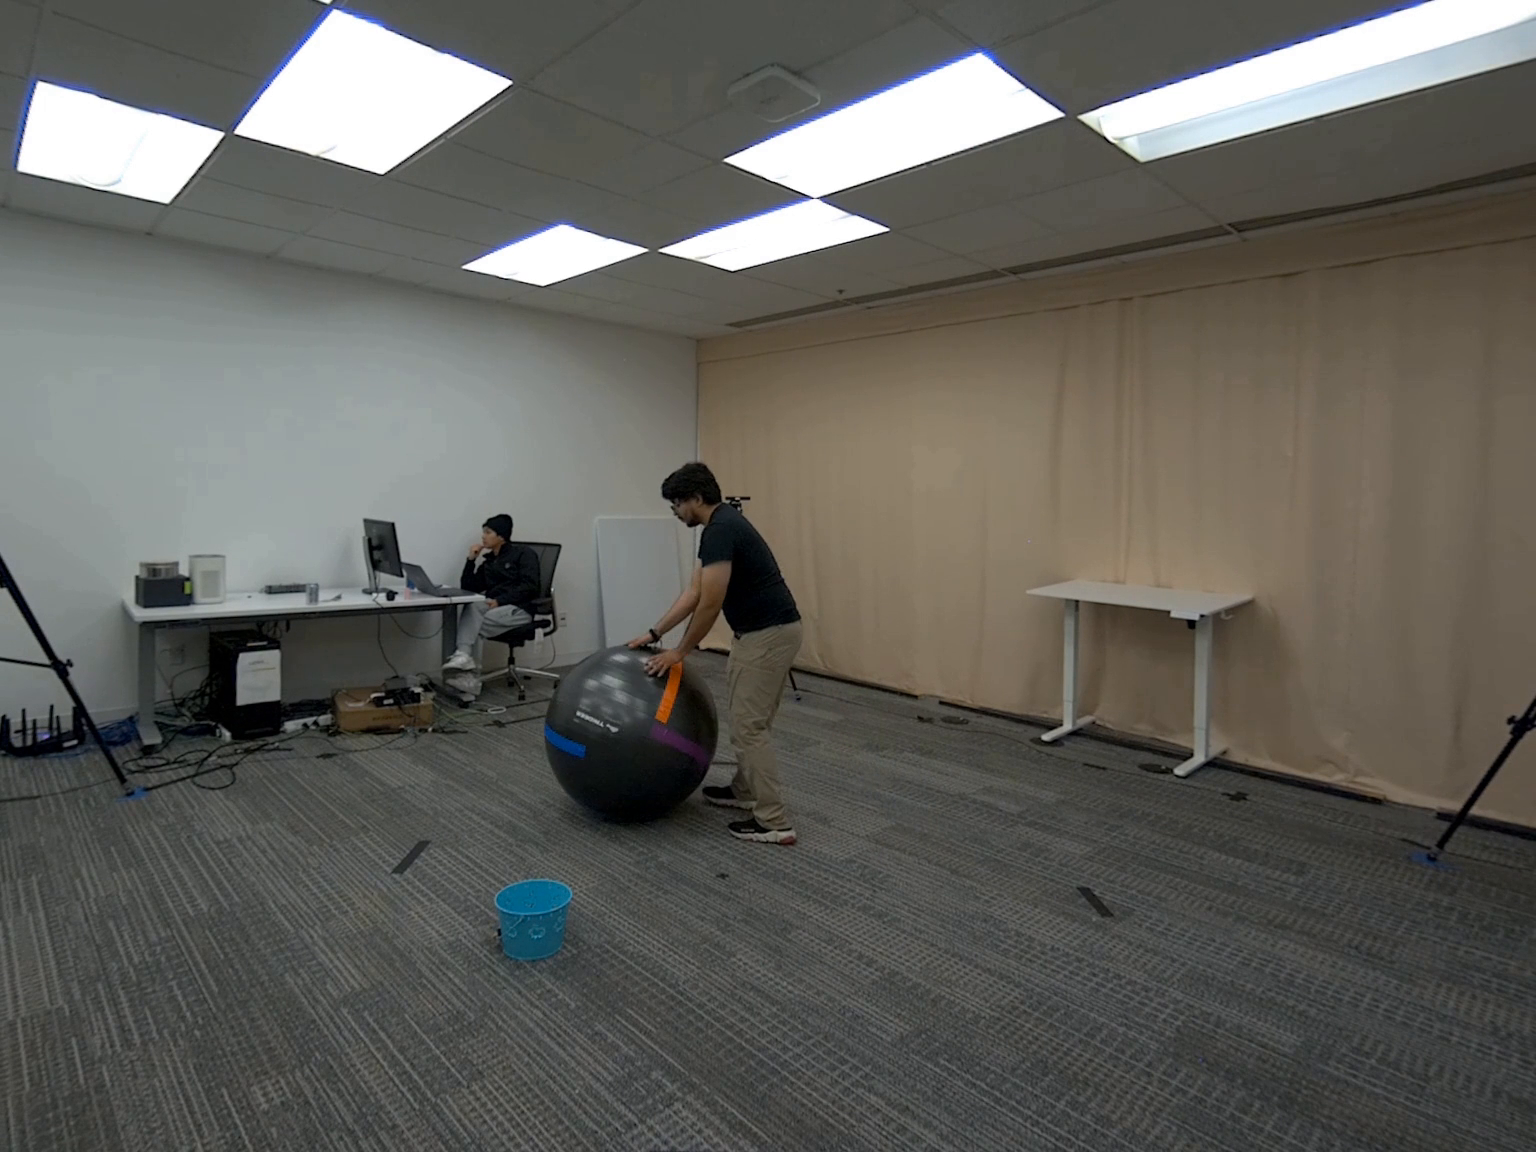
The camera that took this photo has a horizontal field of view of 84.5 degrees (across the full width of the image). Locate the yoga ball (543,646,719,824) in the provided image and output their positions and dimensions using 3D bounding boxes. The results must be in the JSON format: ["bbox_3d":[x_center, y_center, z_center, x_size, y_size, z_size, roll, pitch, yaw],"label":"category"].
[{"bbox_3d":[-0.608,0.673,3.700,0.757,0.756,0.761,1,4,-1],"label":"yoga ball"}]
